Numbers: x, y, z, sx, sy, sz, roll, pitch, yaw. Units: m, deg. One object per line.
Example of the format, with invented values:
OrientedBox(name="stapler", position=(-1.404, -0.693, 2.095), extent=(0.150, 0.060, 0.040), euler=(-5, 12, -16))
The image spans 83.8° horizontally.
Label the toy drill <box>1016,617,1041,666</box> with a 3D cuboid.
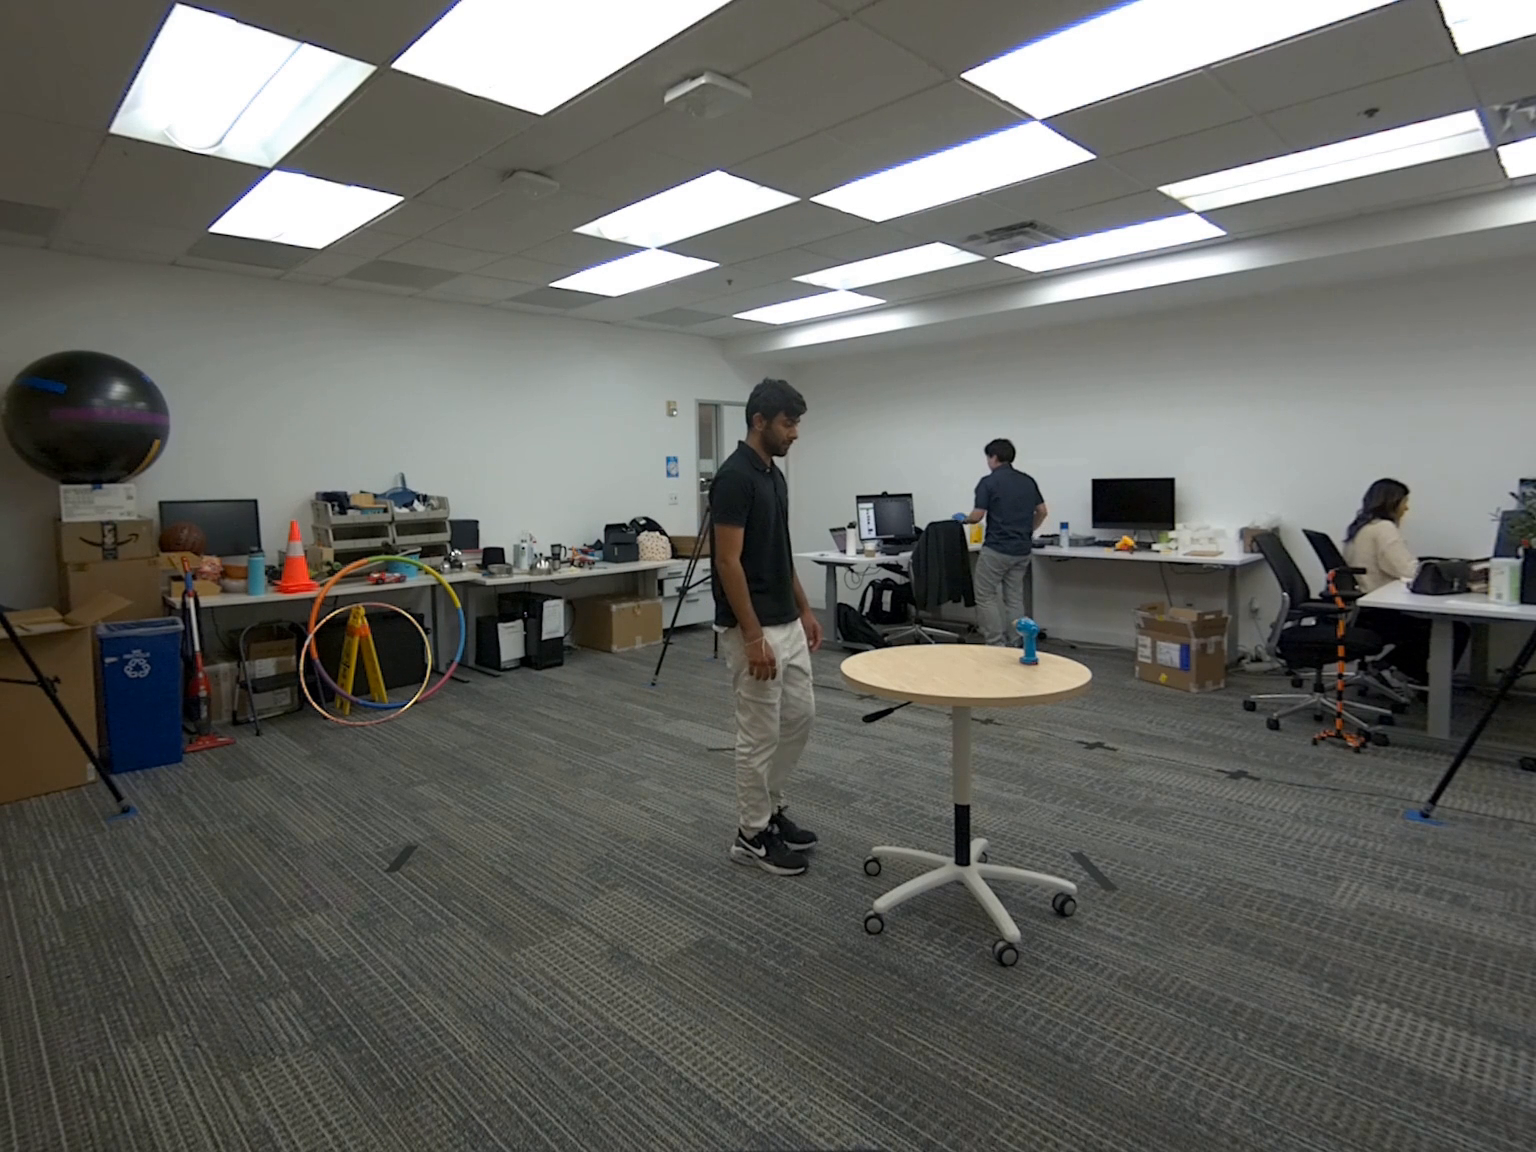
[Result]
OrientedBox(name="toy drill", position=(0.838, 0.203, 2.795), extent=(0.061, 0.145, 0.171), euler=(-2, 5, -7))
